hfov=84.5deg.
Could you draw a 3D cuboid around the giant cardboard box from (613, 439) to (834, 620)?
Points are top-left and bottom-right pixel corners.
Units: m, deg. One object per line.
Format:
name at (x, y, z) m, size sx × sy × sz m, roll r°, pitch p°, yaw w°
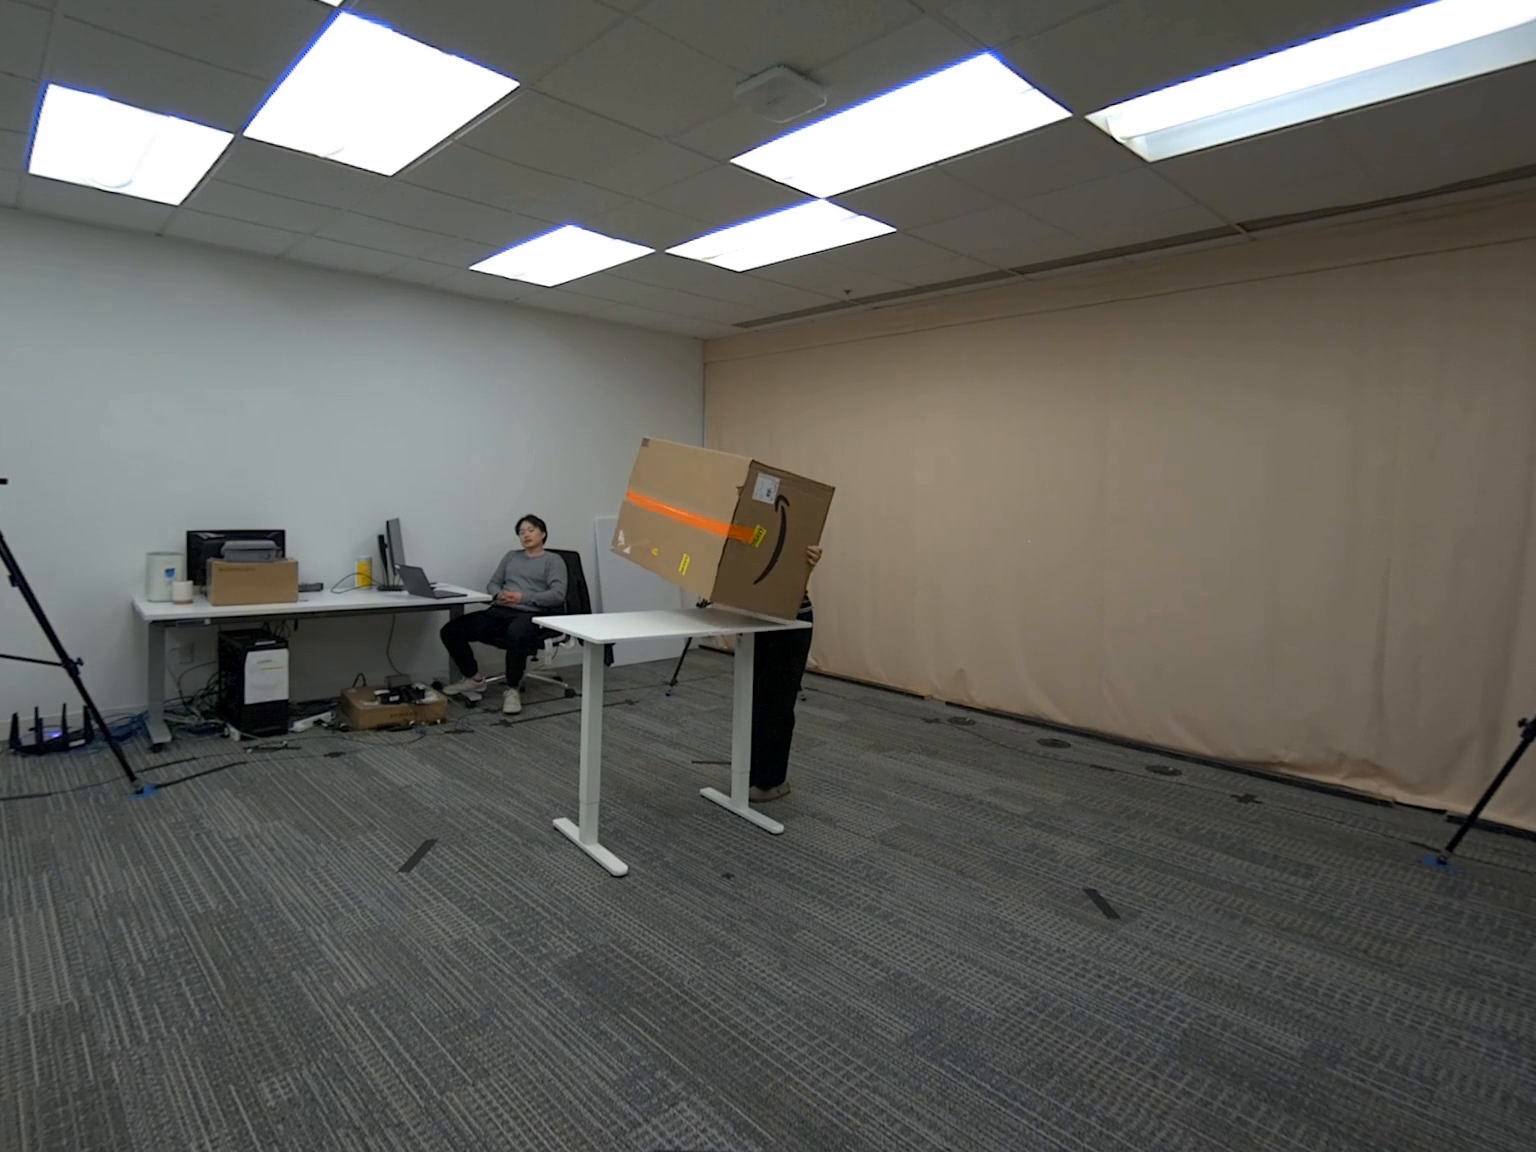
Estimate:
giant cardboard box at (-0.255, -0.246, 3.737) m, size 0.415 × 0.576 × 1.054 m, roll 15°, pitch 4°, yaw -34°
